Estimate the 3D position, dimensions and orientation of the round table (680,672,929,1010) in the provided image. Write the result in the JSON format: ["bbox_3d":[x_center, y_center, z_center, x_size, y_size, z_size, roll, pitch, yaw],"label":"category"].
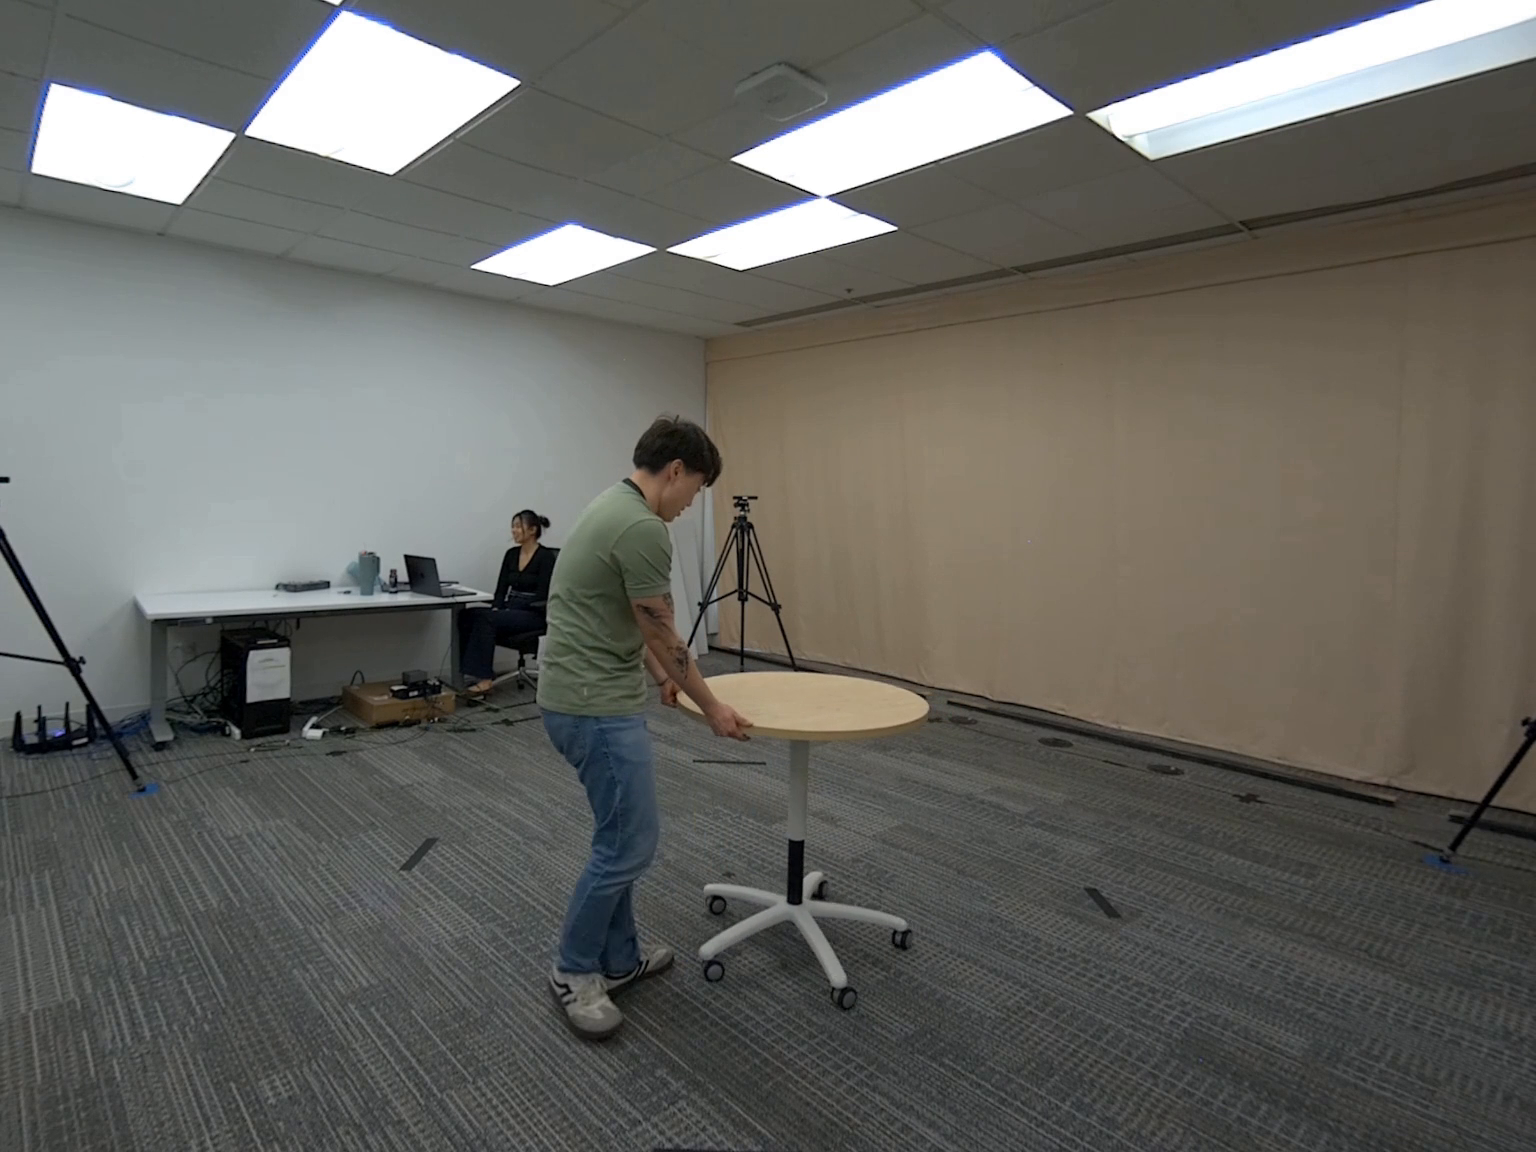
[{"bbox_3d":[0.092,0.766,2.601,0.763,0.792,0.766,1,4,-1],"label":"round table"}]
